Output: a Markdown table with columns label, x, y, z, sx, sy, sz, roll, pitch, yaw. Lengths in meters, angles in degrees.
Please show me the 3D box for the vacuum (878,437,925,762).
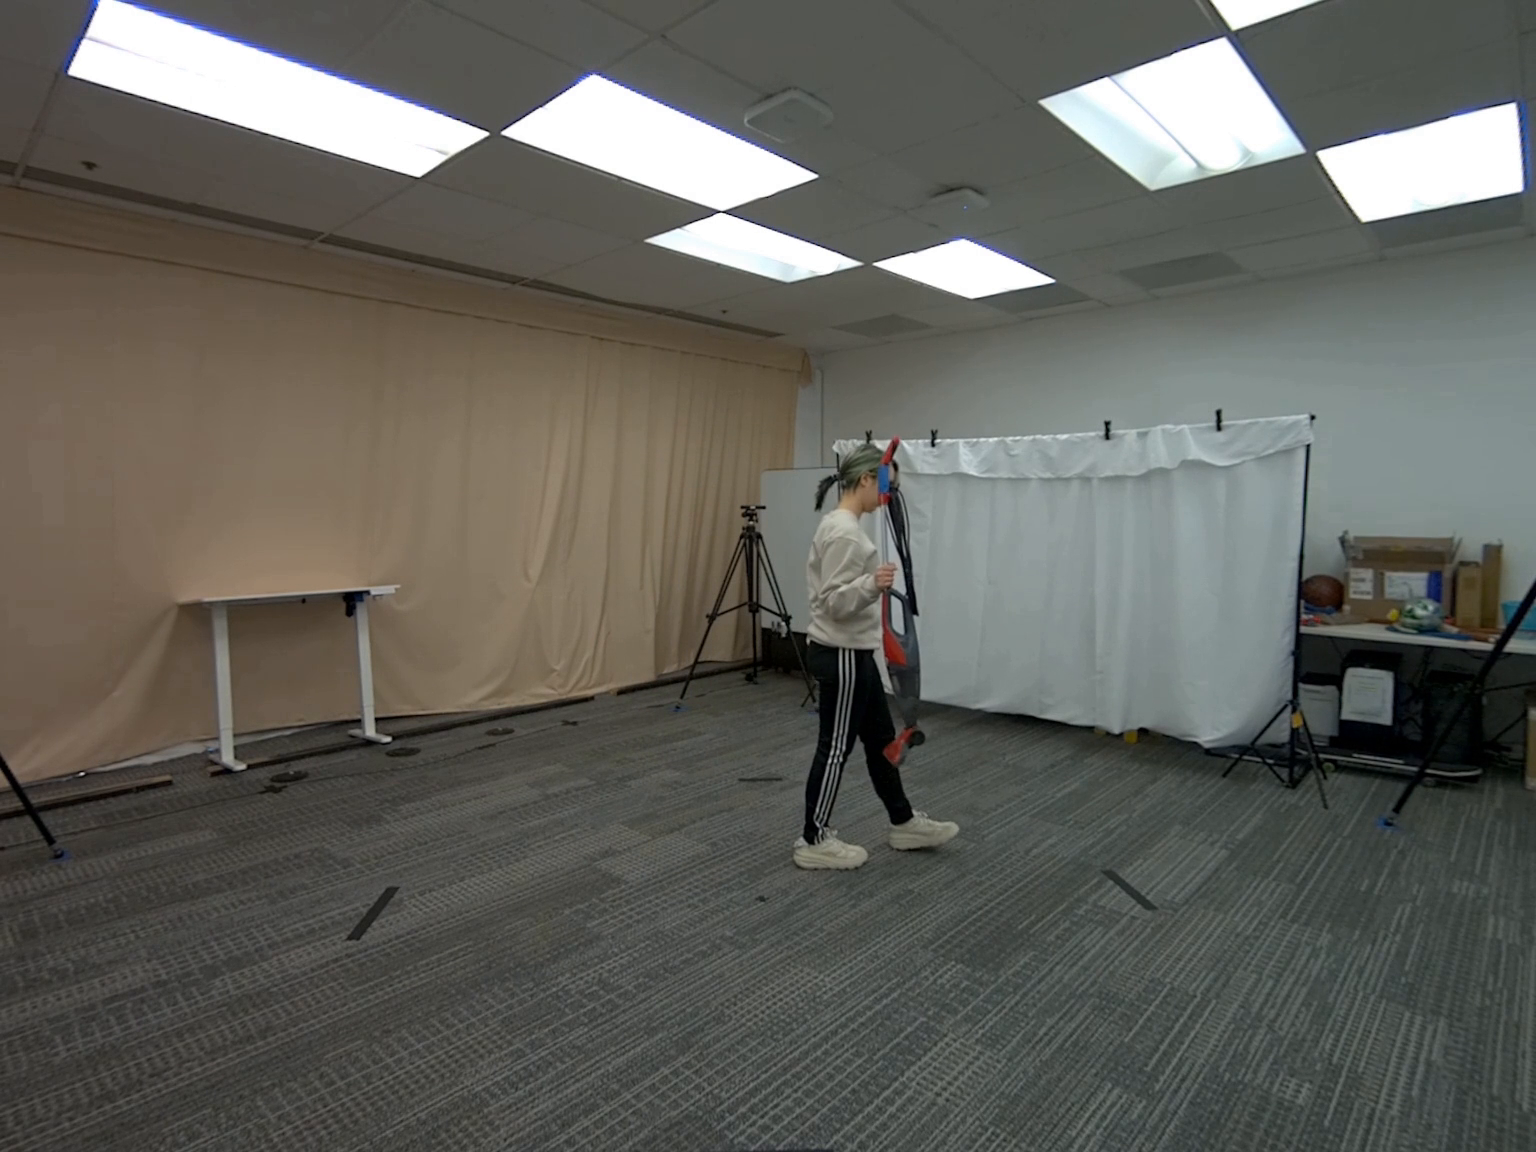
| label | x | y | z | sx | sy | sz | roll | pitch | yaw |
| --- | --- | --- | --- | --- | --- | --- | --- | --- | --- |
| vacuum | 0.461 | 0.050 | 2.881 | 0.143 | 1.053 | 0.253 | 0 | -5 | -7 |
